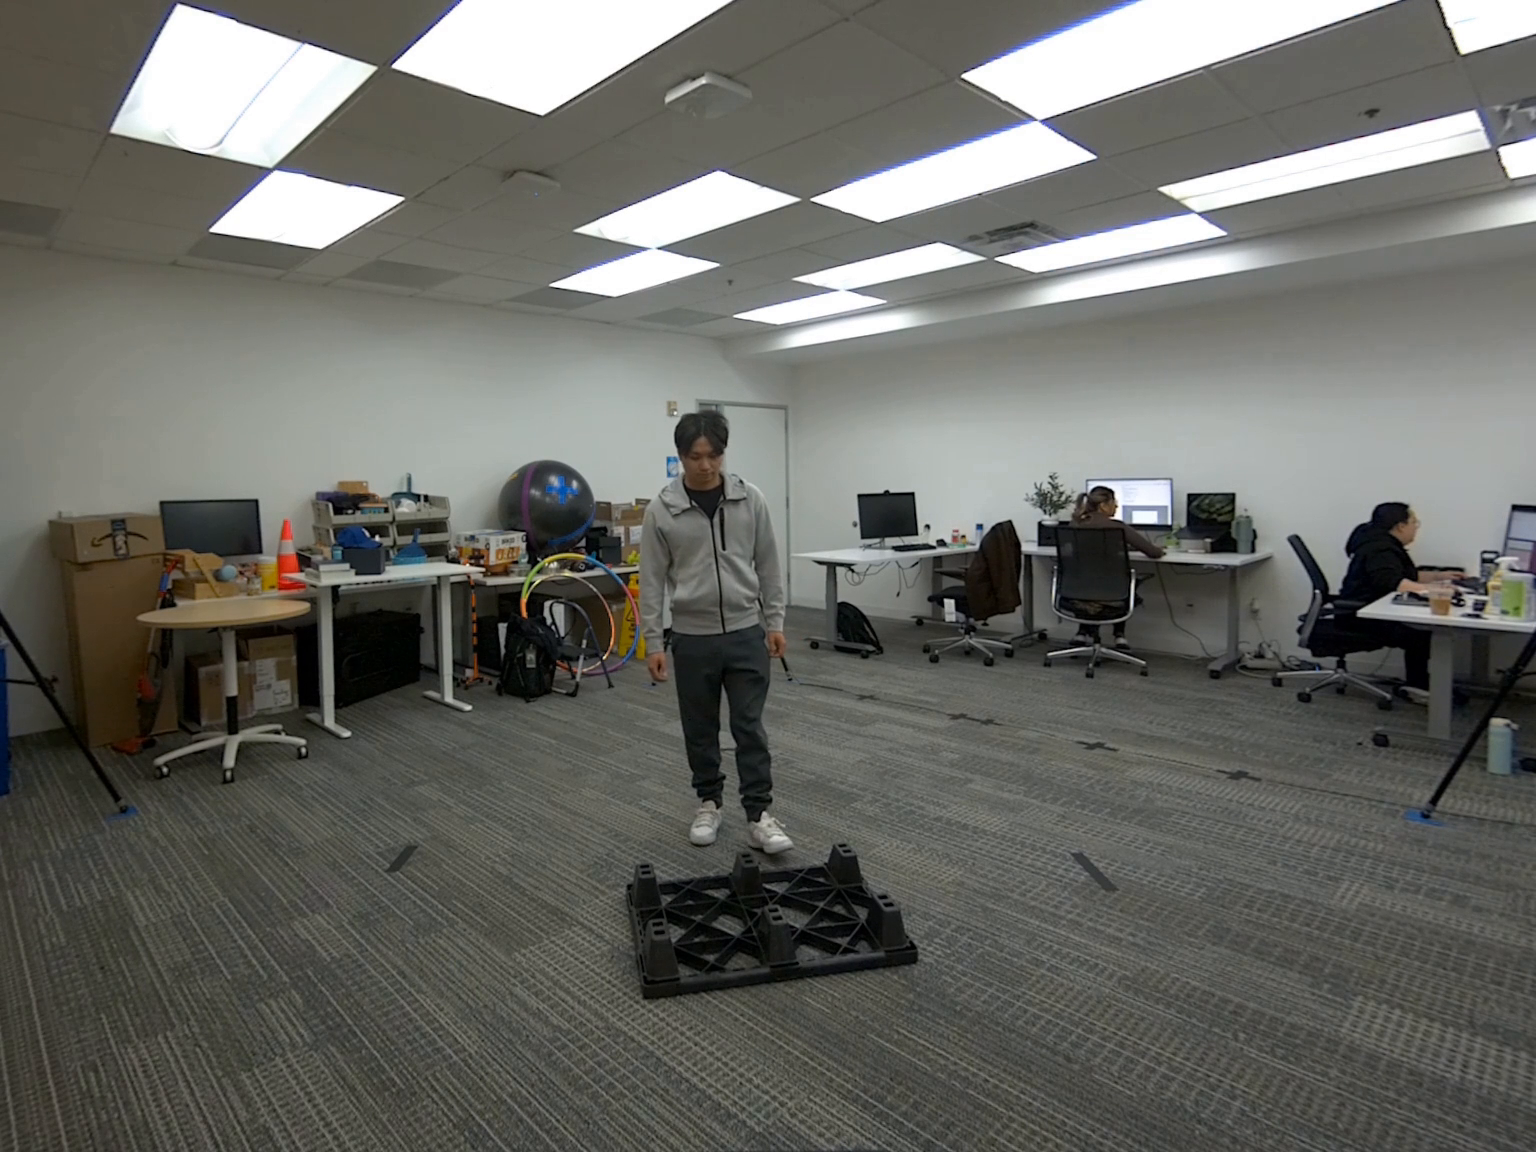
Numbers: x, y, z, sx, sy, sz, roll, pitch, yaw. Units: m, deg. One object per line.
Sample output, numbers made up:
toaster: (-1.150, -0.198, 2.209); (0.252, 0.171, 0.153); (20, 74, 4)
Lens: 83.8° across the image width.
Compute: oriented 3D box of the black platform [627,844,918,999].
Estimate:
black platform: (-0.017, 1.029, 2.671); (0.796, 0.142, 0.615); (-2, 7, -13)
